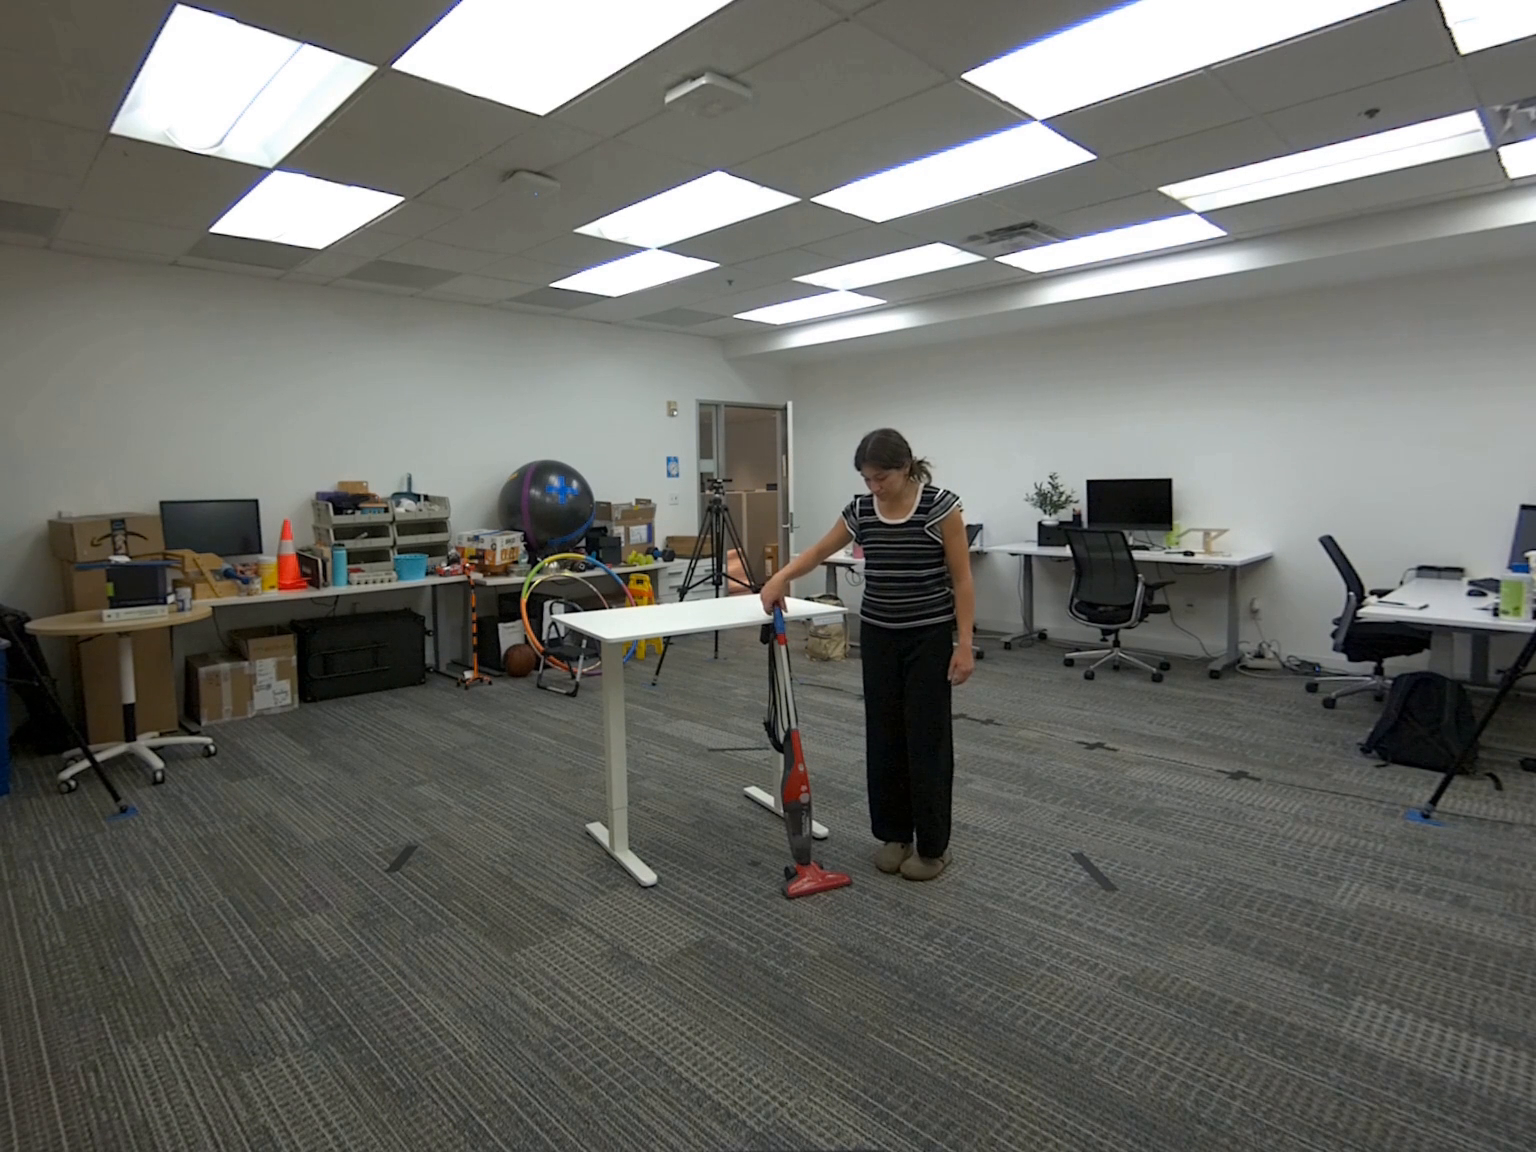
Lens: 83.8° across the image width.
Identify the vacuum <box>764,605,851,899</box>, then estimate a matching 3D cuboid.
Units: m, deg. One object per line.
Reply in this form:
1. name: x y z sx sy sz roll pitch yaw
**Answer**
1. vacuum: 0.108 0.560 3.038 0.247 1.061 0.145 1 -12 -24
